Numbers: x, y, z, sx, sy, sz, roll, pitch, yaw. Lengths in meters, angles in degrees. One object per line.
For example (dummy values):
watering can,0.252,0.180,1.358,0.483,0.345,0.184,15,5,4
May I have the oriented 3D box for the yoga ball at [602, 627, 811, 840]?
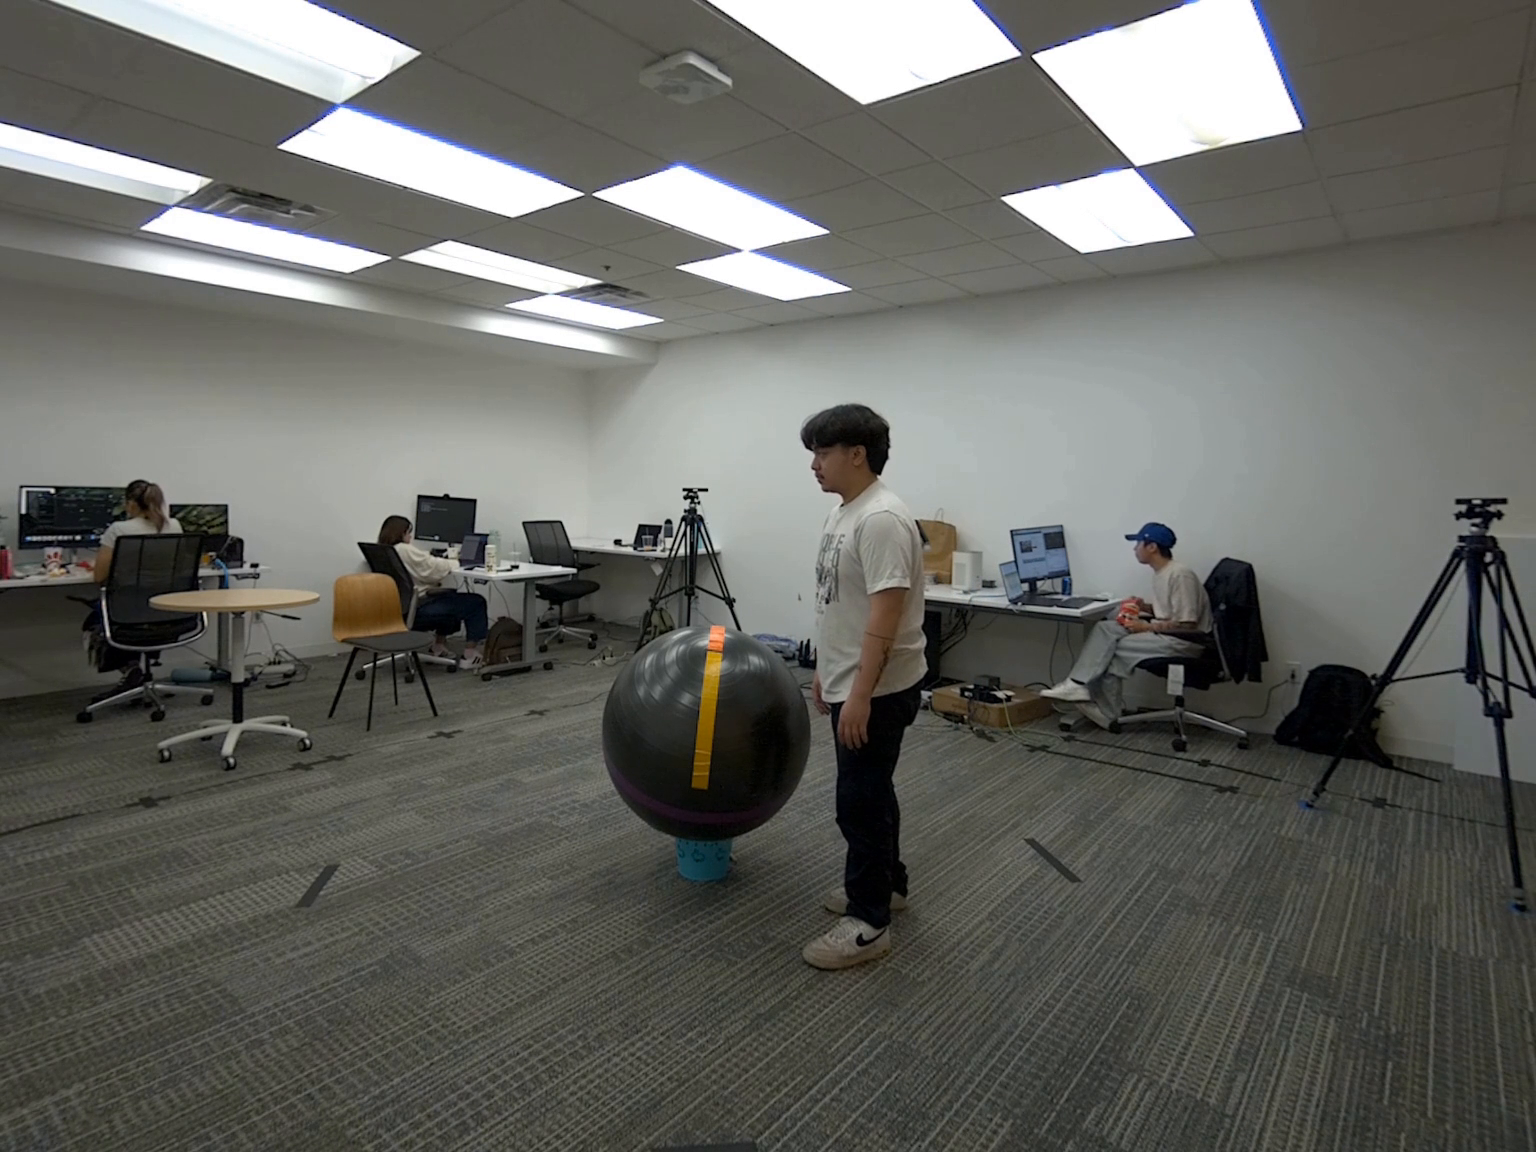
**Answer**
yoga ball,-0.232,0.562,3.089,0.757,0.756,0.761,1,4,-2
